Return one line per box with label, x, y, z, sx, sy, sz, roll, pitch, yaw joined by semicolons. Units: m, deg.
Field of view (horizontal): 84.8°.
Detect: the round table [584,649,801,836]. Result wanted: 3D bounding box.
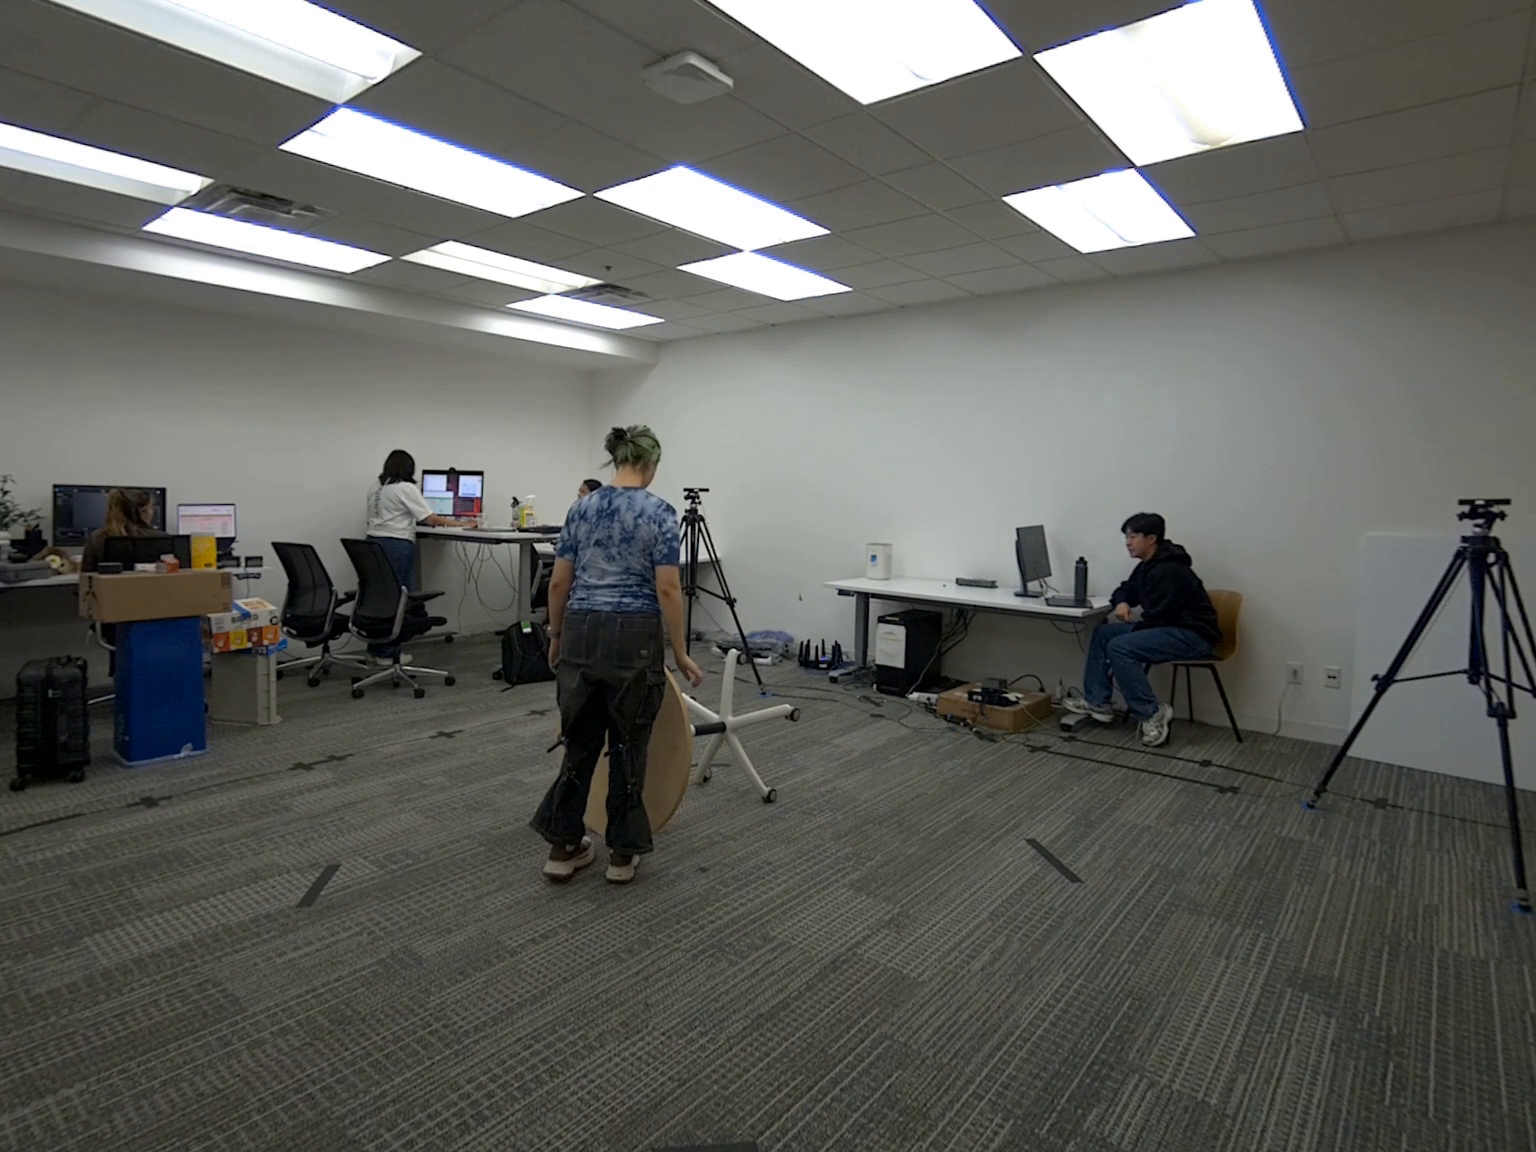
round table;-0.377;0.673;3.684;0.789;0.765;0.767;4;-2;39
